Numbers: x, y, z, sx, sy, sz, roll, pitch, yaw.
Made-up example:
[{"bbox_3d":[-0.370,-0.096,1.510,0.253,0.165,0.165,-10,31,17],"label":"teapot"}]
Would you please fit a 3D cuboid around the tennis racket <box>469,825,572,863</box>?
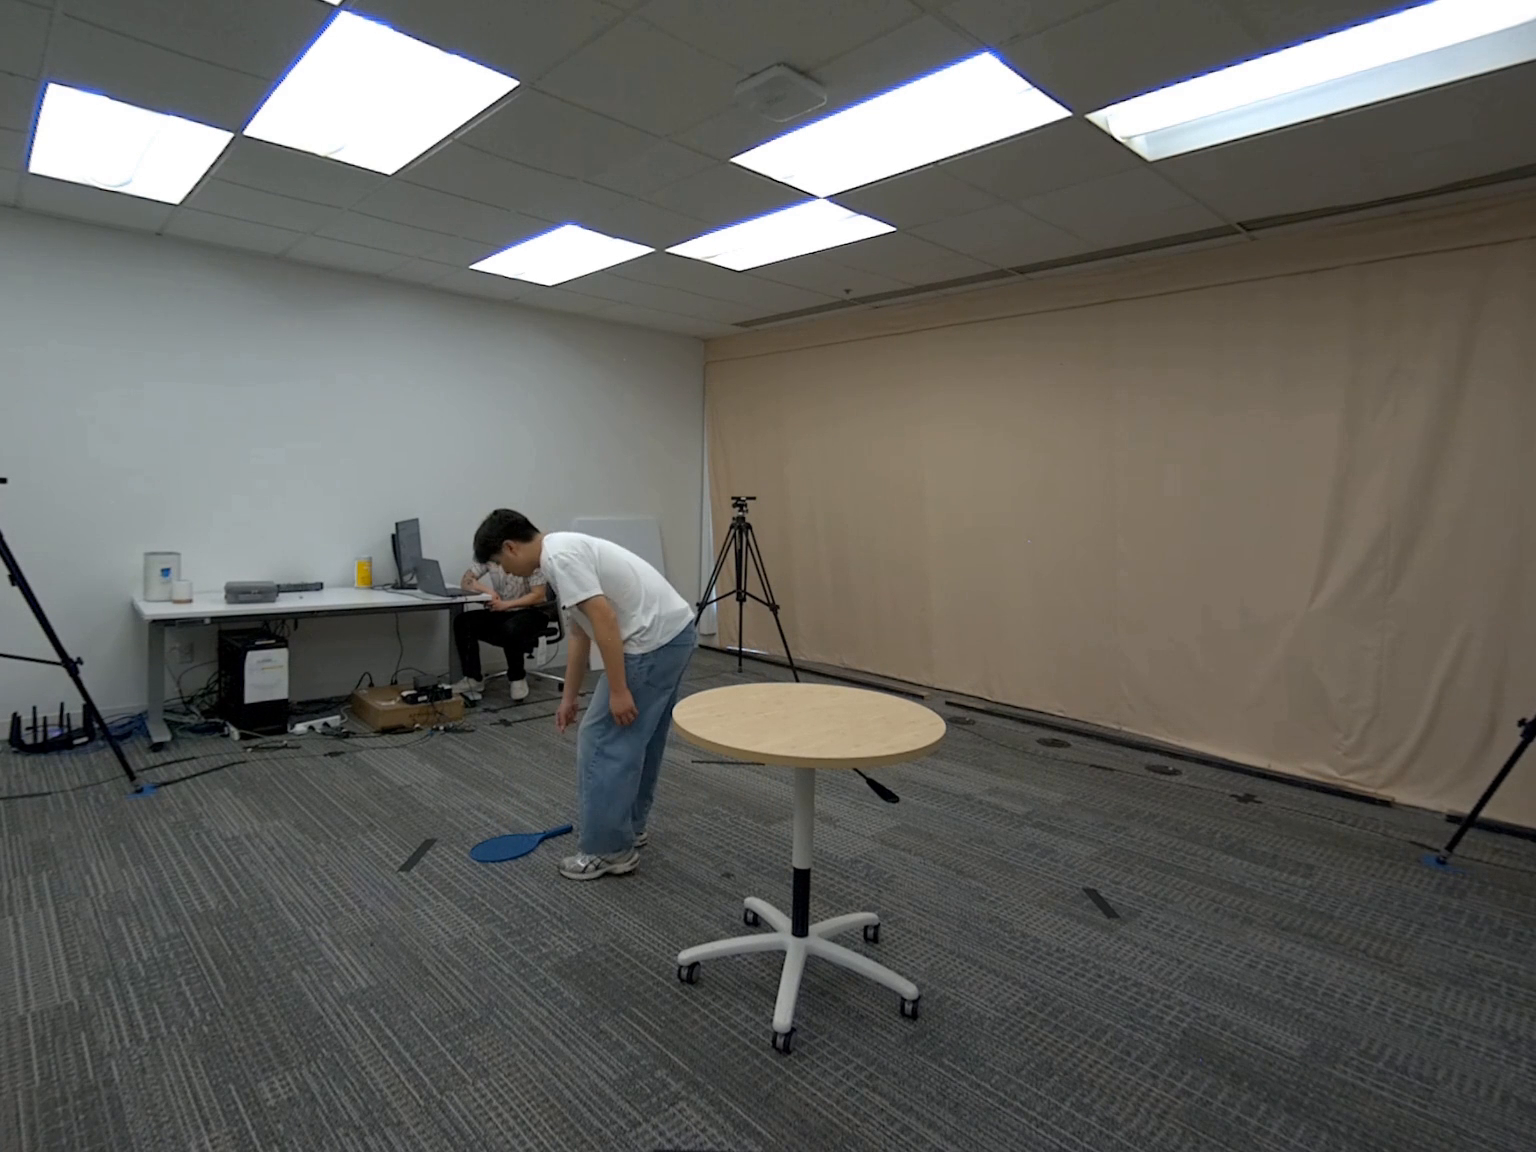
[{"bbox_3d":[-0.965,1.048,3.331,0.423,0.031,0.219,-5,8,-41],"label":"tennis racket"}]
